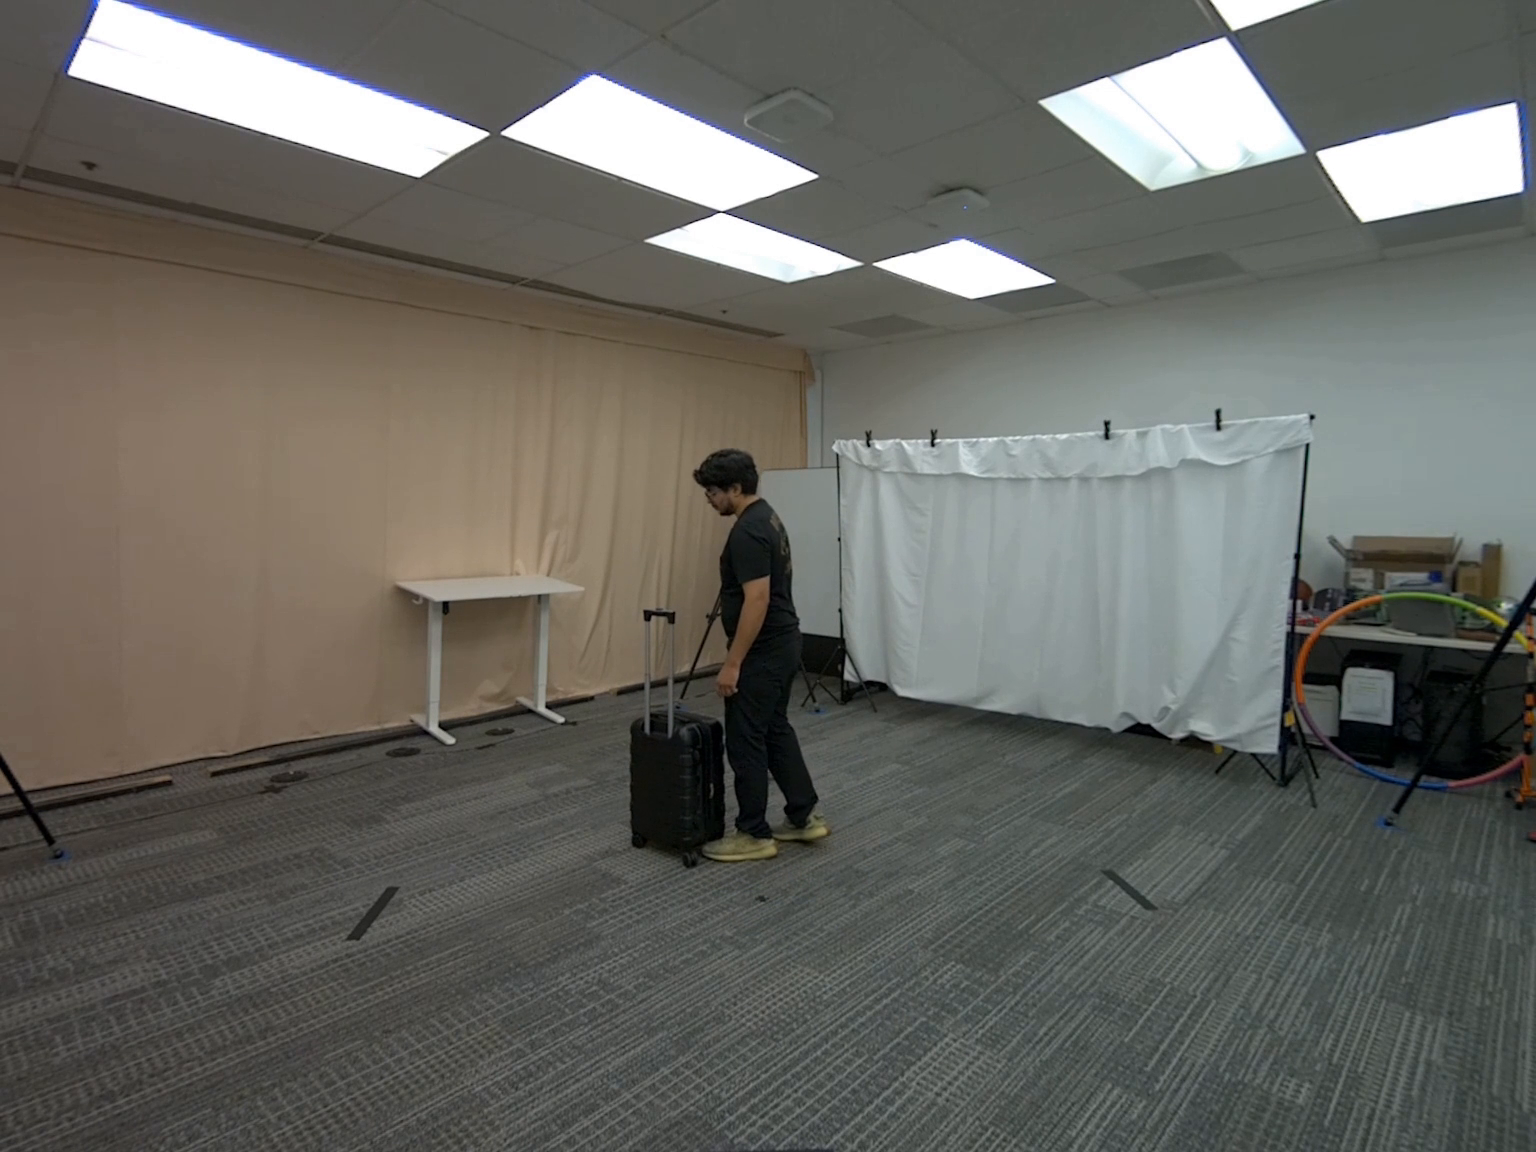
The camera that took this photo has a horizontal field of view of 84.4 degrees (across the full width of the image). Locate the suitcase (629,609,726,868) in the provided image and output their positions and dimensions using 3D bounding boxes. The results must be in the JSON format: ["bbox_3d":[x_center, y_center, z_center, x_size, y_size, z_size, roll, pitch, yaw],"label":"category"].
[{"bbox_3d":[-0.373,0.631,3.441,0.396,0.978,0.249,0,0,38],"label":"suitcase"}]
